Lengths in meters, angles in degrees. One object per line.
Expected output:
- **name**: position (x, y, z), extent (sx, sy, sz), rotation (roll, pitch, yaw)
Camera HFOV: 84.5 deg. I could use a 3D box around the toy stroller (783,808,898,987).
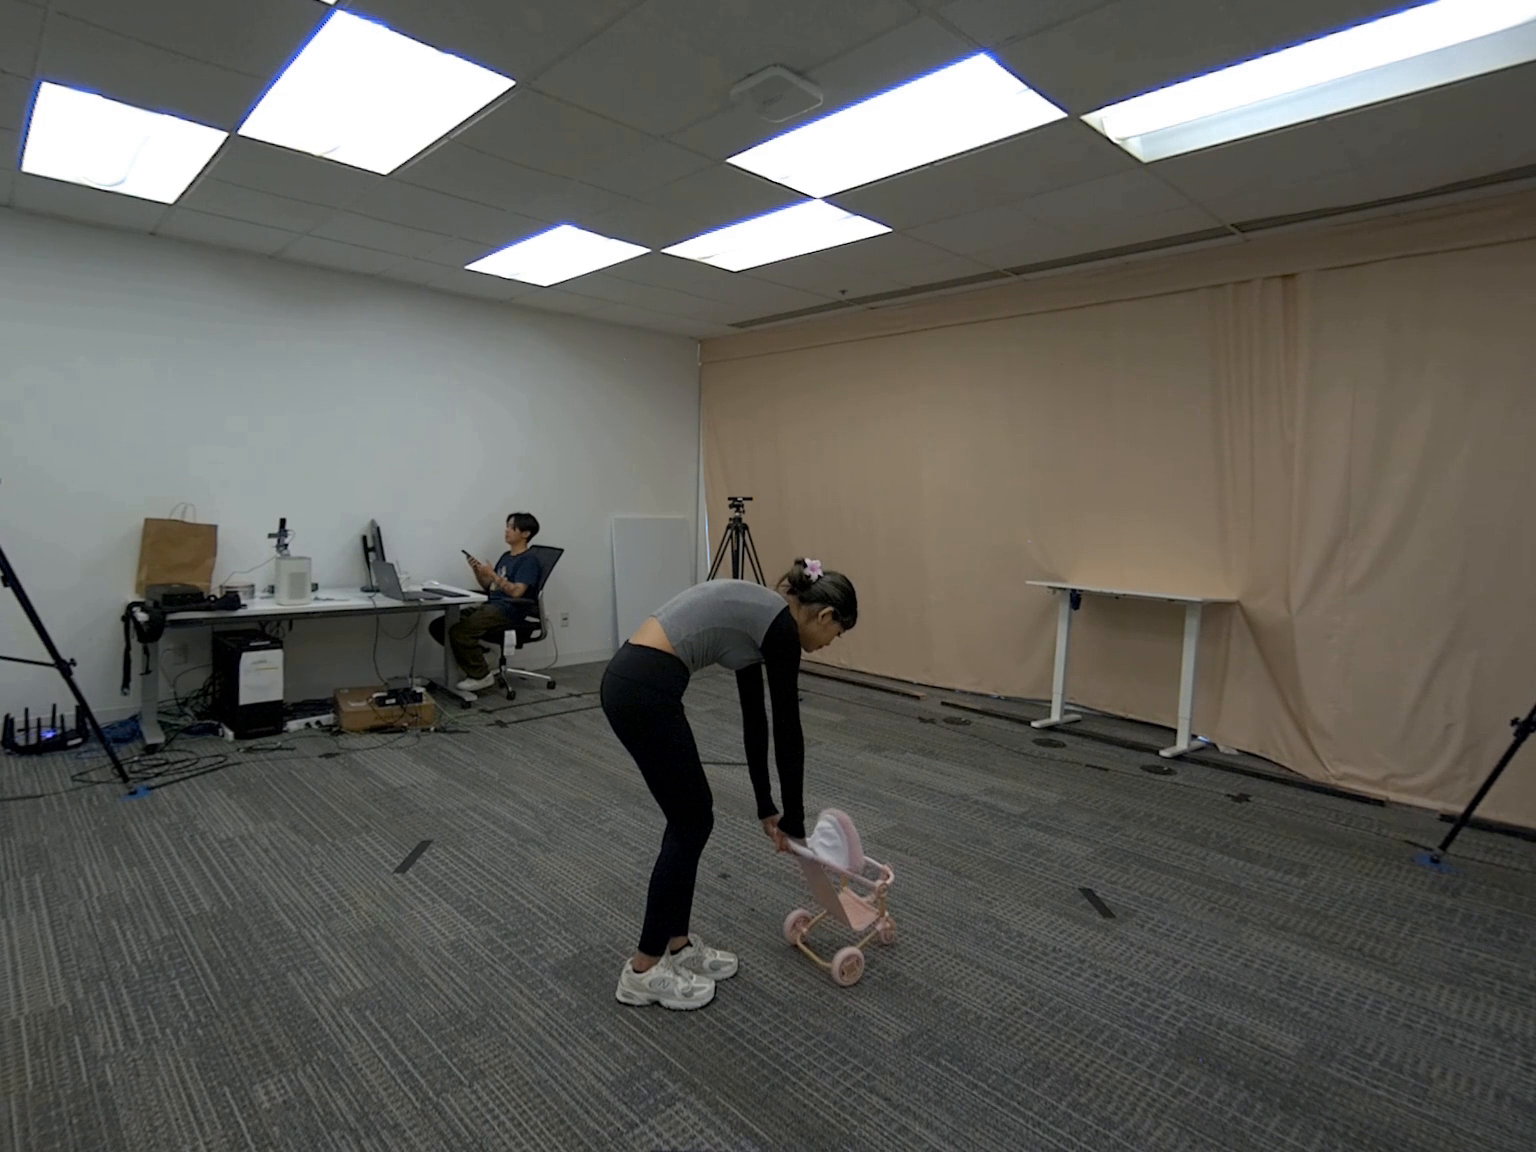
- **toy stroller**: position (0.215, 0.940, 2.551), extent (0.337, 0.530, 0.288), rotation (-17, 12, -26)
